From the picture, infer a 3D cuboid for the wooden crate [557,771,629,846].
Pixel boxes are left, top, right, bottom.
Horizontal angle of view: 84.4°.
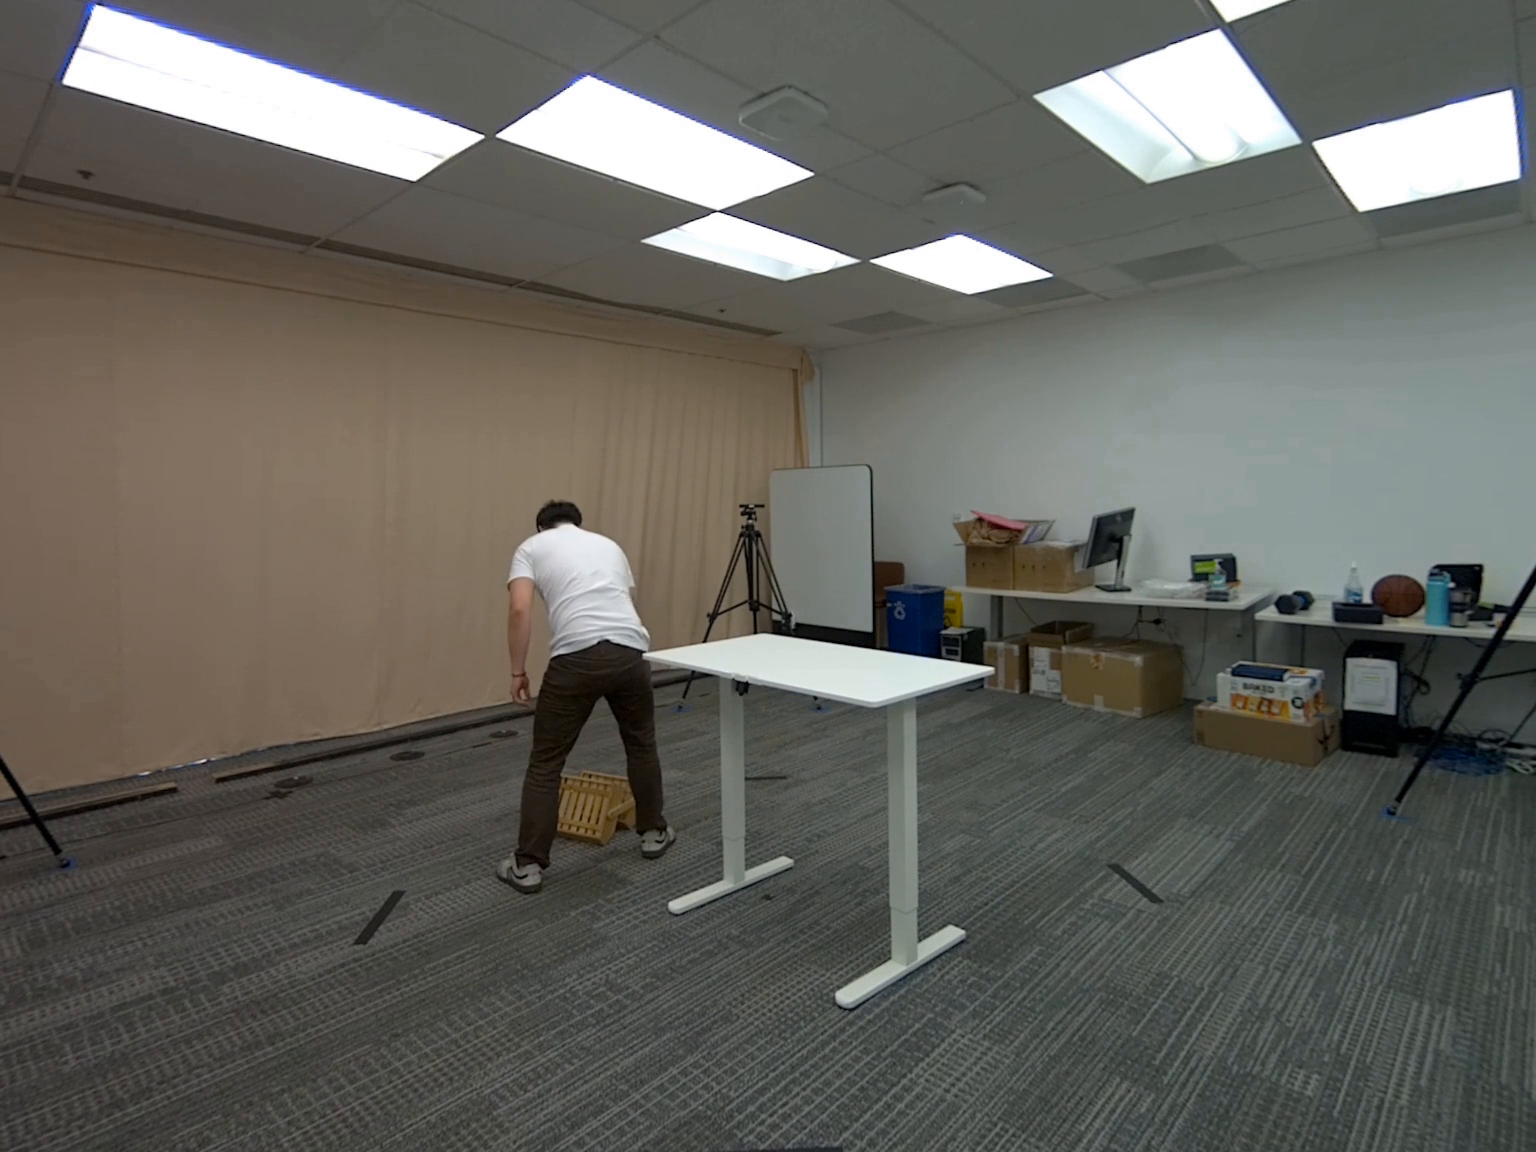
[{"bbox_3d":[-0.743,1.011,3.671,0.333,0.304,0.264,0,-24,27],"label":"wooden crate"}]
